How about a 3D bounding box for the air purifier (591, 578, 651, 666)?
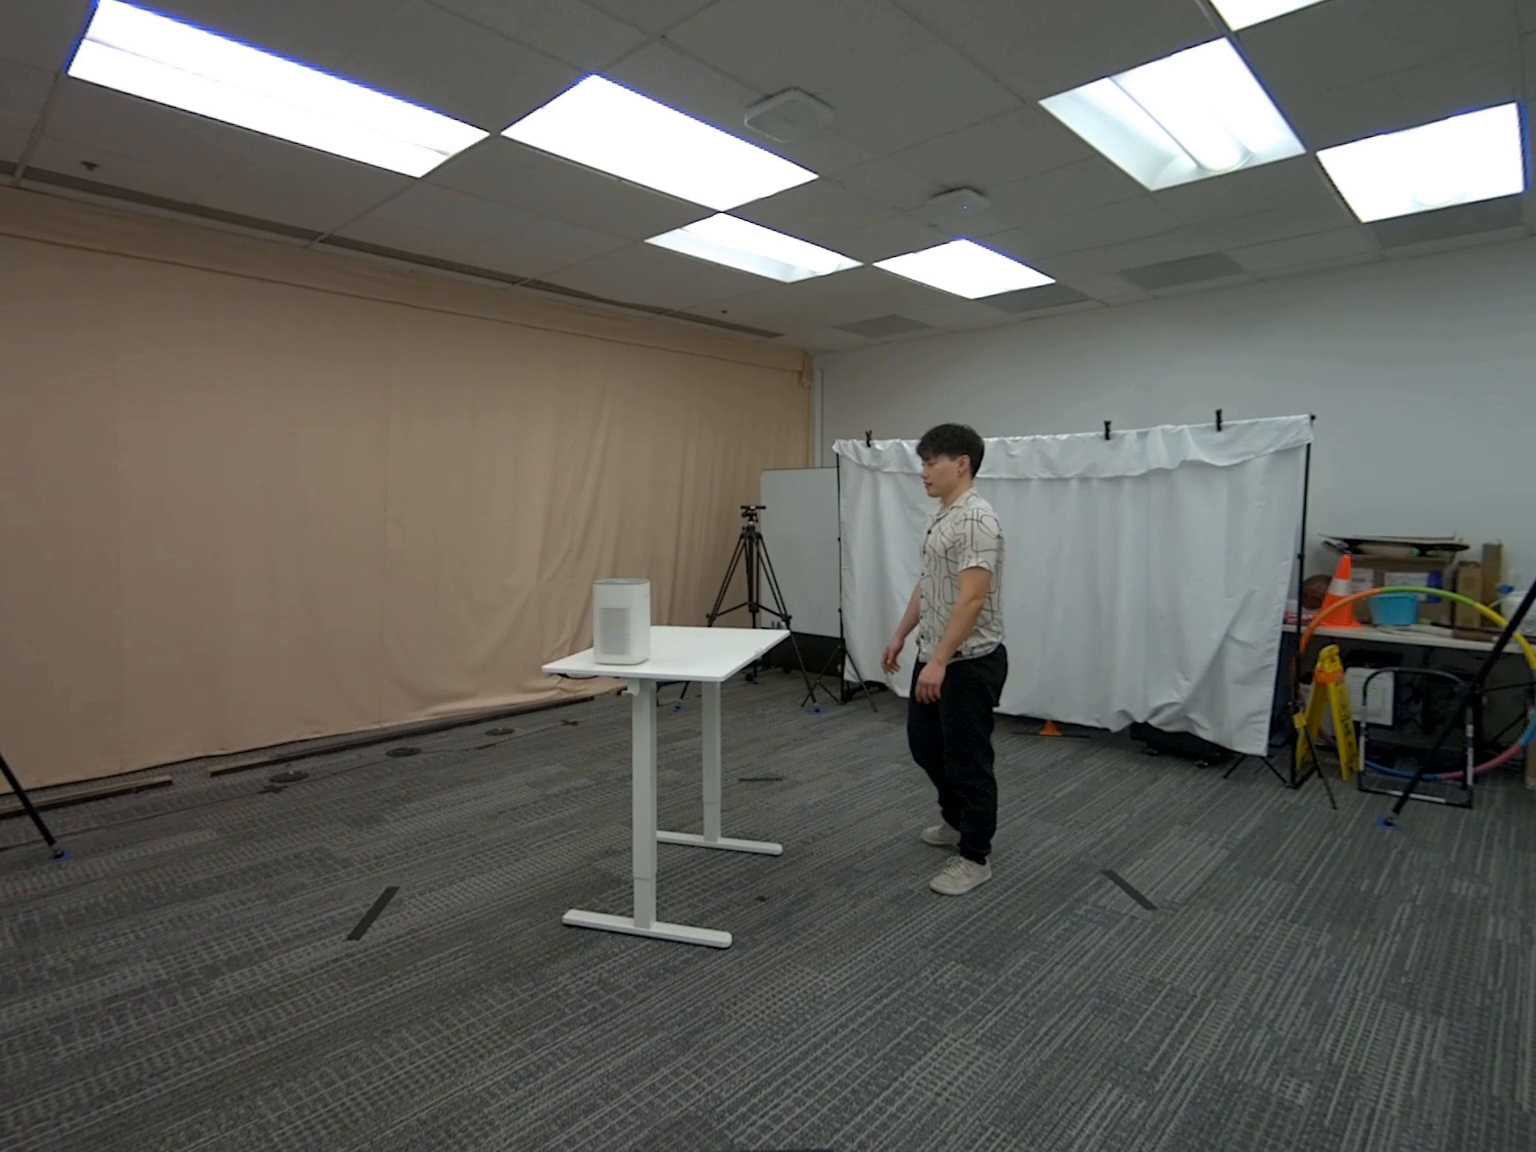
[{"bbox_3d":[-0.465,0.152,2.765,0.173,0.265,0.170,0,2,8],"label":"air purifier"}]
